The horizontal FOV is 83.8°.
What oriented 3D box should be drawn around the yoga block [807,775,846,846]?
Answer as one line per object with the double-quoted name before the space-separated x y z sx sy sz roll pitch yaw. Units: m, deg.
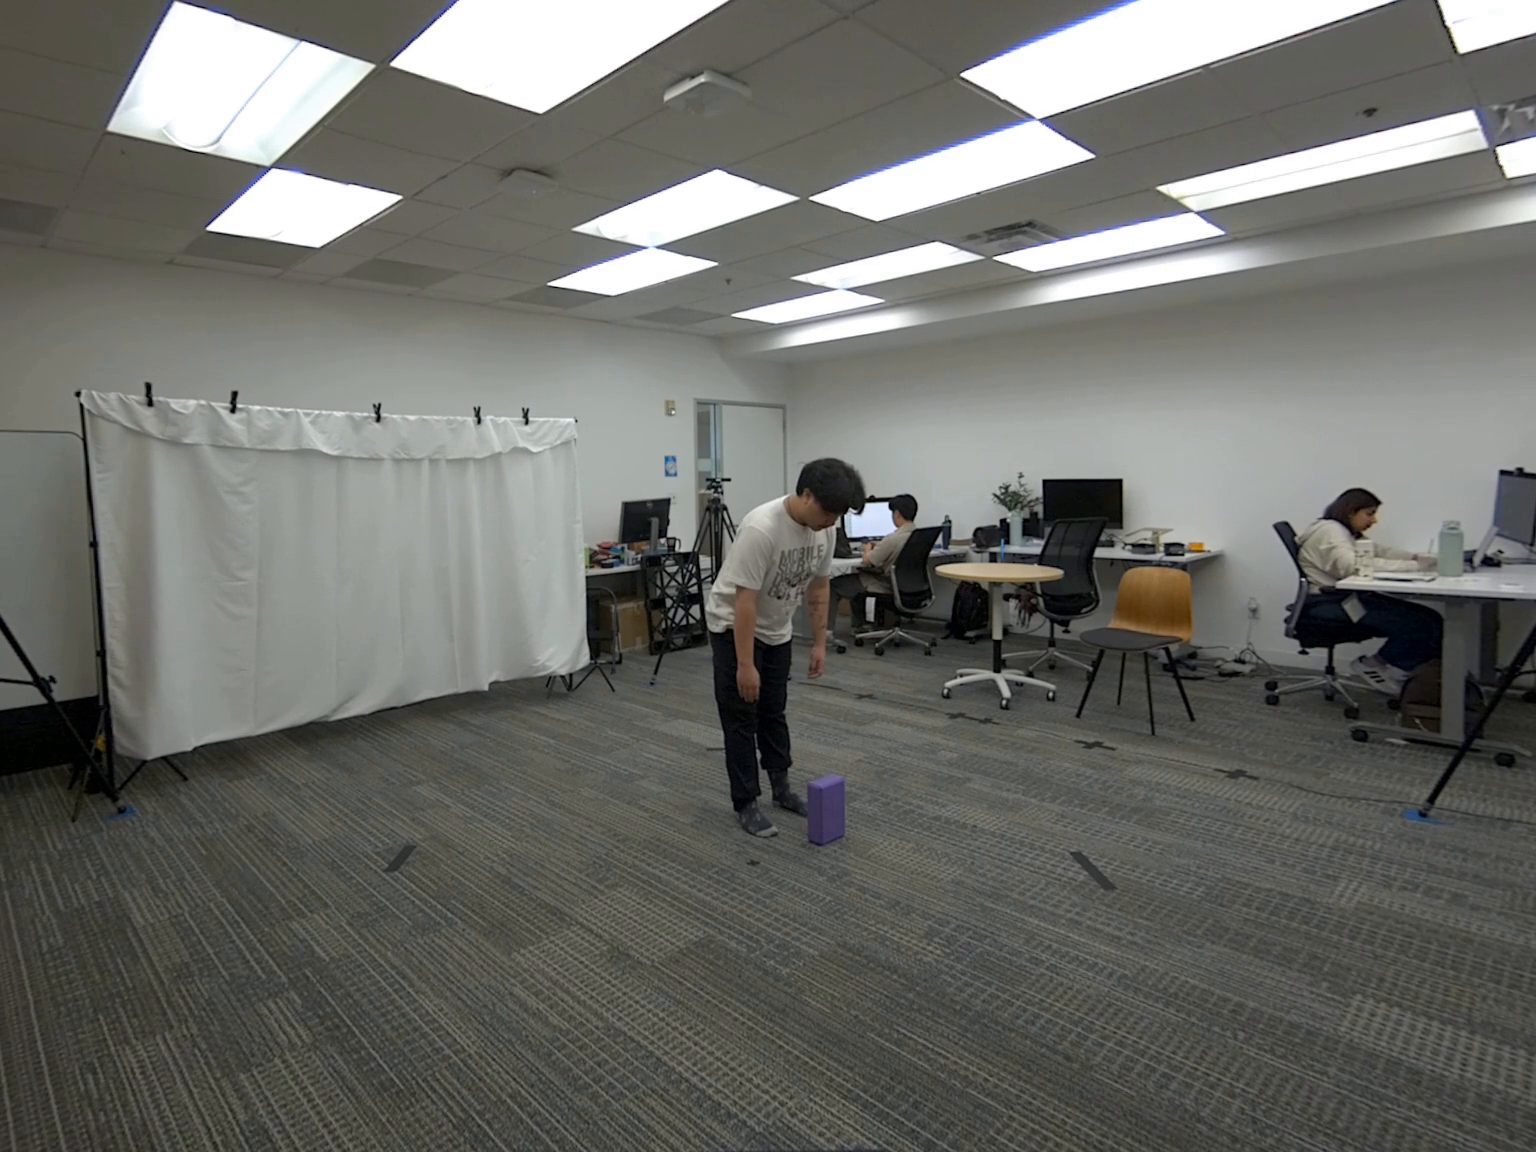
"yoga block" 0.229 0.901 3.300 0.145 0.229 0.079 -3 4 -44
